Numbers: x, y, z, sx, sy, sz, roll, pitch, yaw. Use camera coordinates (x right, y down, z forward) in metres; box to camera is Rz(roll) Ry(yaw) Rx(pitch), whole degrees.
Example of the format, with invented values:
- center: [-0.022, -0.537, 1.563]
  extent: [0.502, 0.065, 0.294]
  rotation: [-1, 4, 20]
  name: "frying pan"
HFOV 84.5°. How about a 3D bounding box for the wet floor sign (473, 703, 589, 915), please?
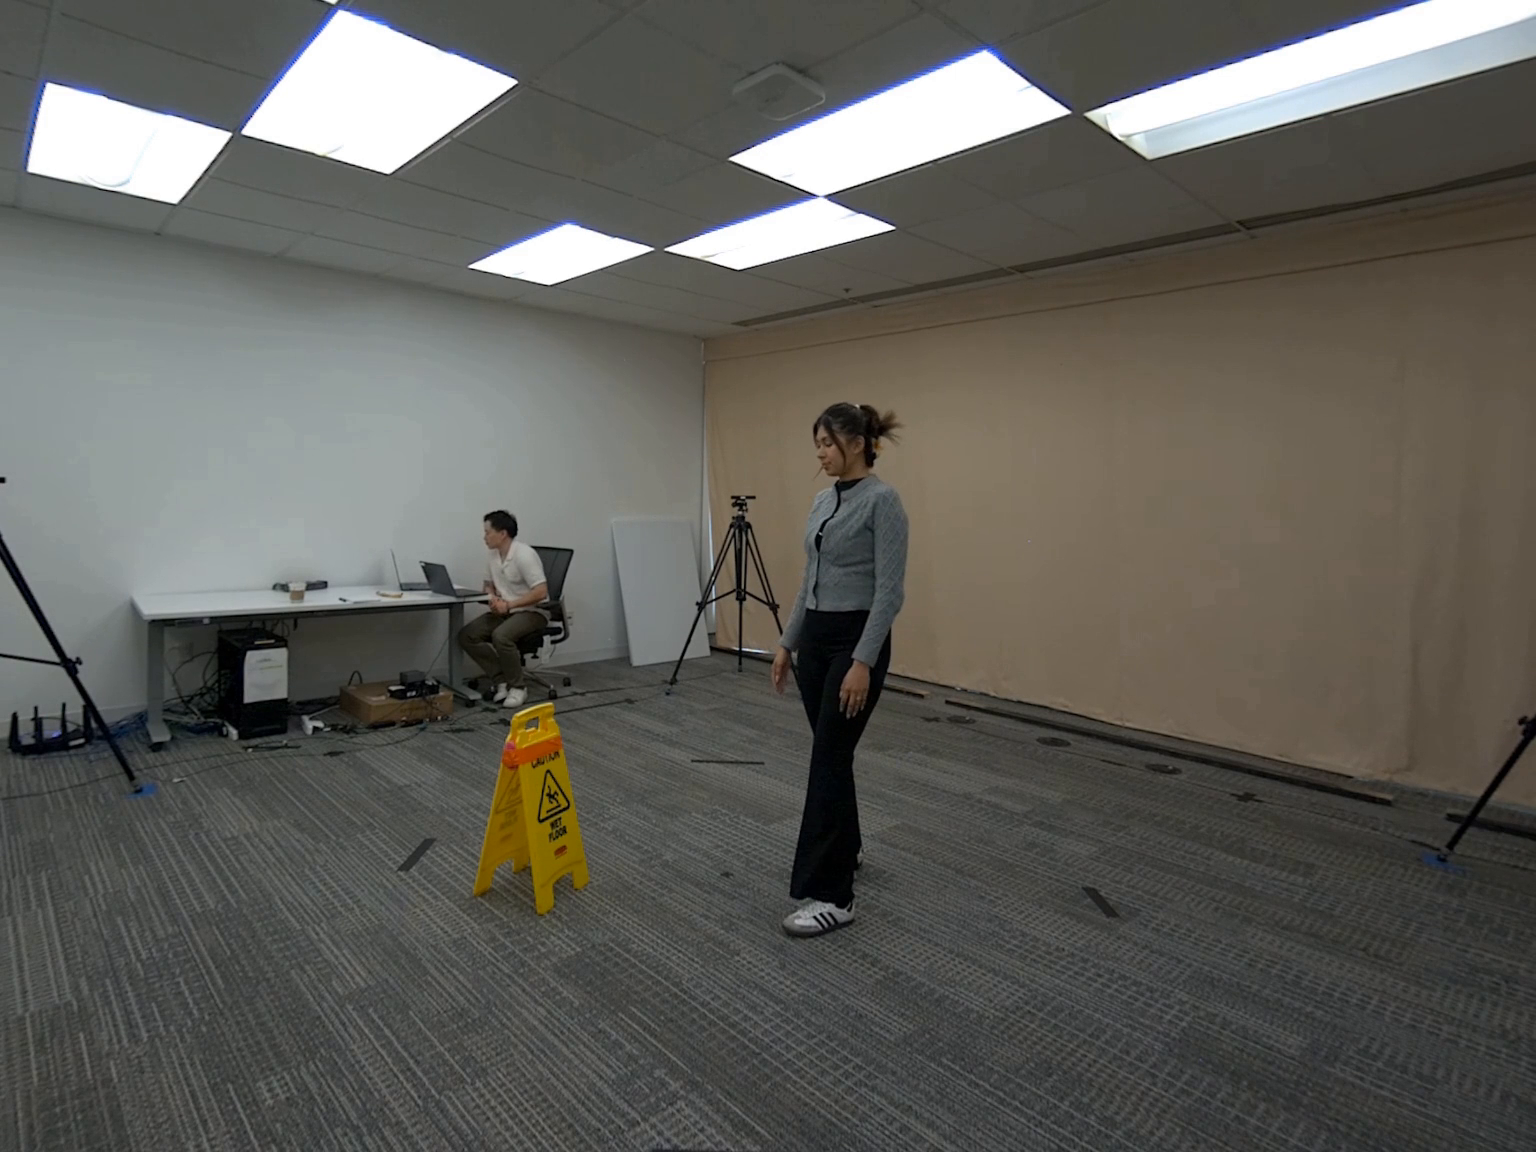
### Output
- center: [-0.827, 0.779, 2.937]
  extent: [0.295, 0.645, 0.277]
  rotation: [2, 3, 24]
  name: "wet floor sign"
